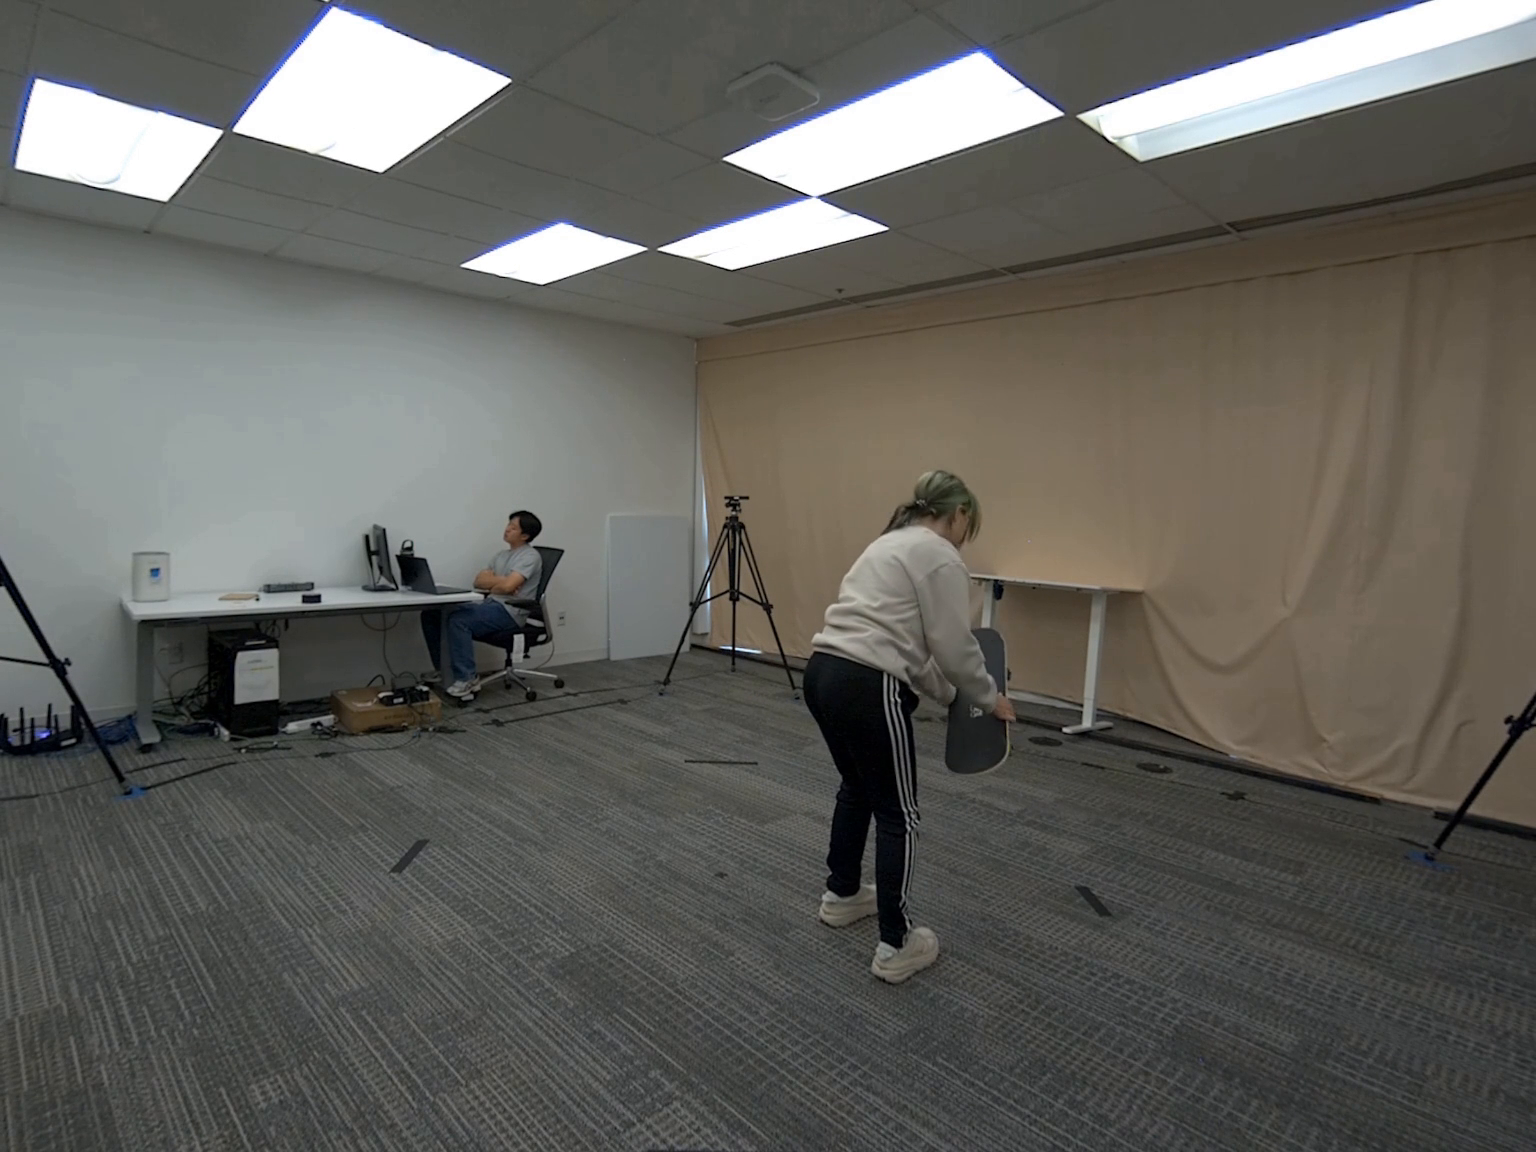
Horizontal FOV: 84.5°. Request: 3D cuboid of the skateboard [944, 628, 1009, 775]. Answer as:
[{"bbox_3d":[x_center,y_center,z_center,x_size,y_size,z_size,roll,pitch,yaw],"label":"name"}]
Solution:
[{"bbox_3d":[0.698,0.440,2.772,0.196,0.108,0.791,-15,24,22],"label":"skateboard"}]
